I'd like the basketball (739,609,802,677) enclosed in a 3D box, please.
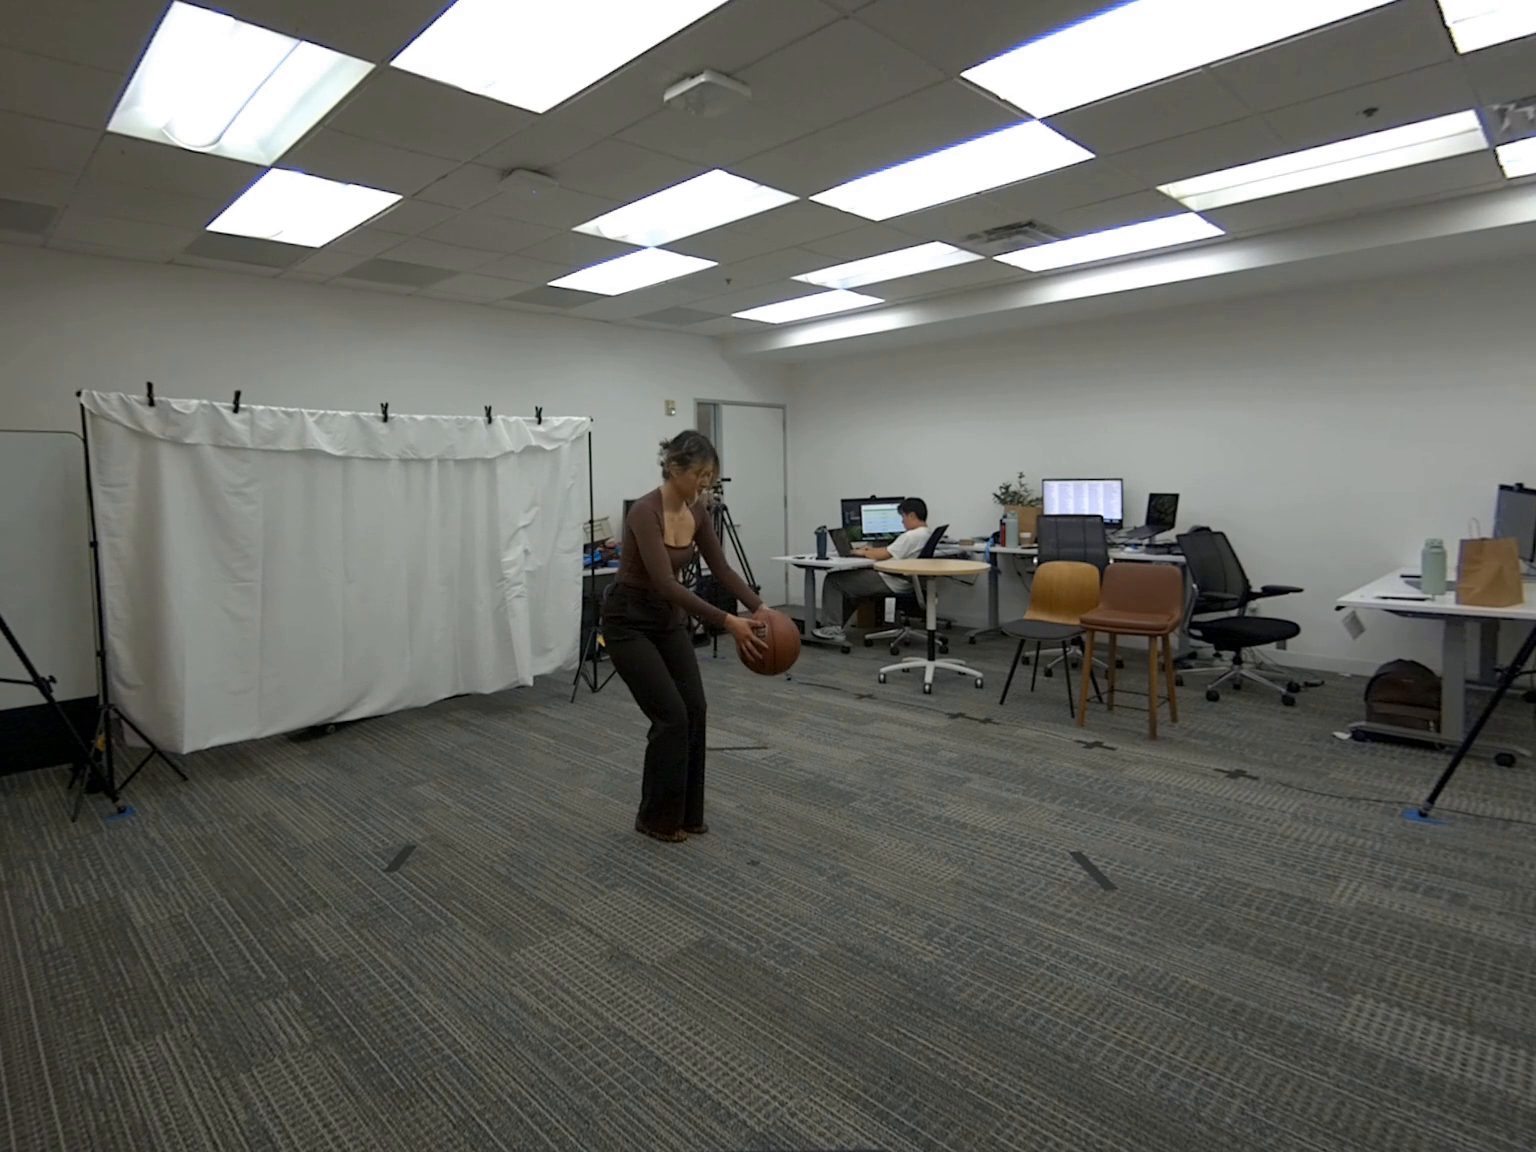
[{"bbox_3d":[0.005,0.246,3.126,0.236,0.235,0.237,-1,5,-2],"label":"basketball"}]
